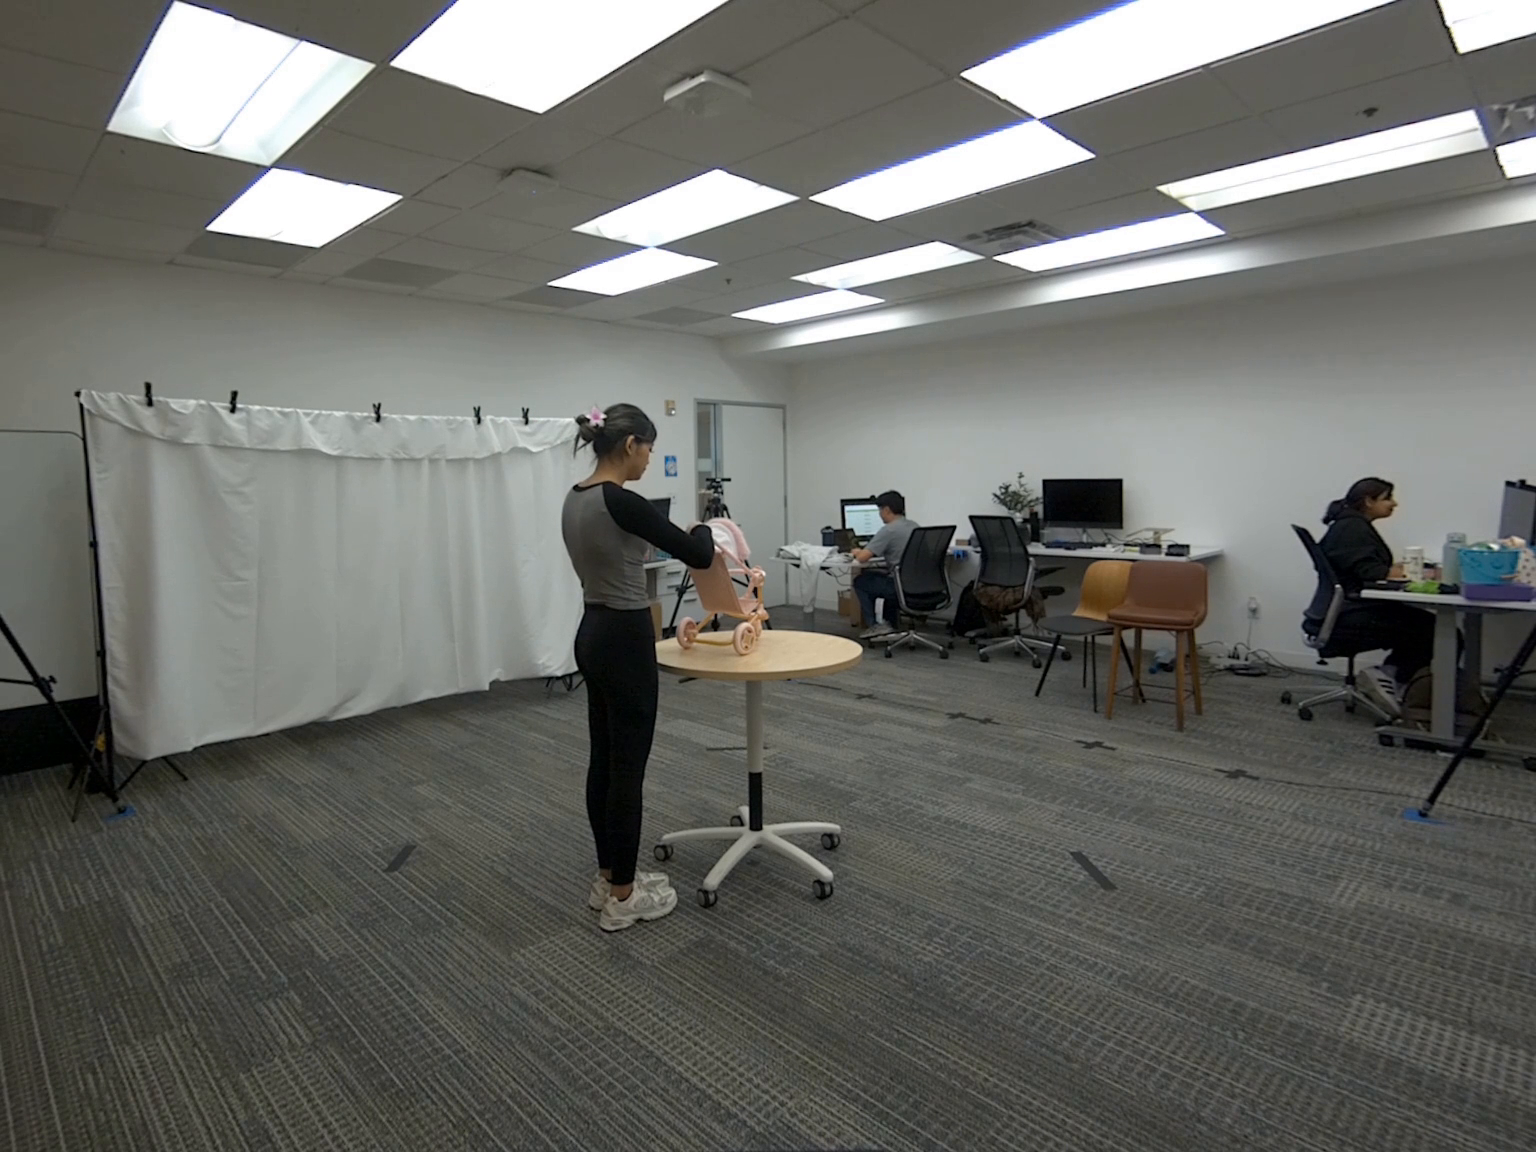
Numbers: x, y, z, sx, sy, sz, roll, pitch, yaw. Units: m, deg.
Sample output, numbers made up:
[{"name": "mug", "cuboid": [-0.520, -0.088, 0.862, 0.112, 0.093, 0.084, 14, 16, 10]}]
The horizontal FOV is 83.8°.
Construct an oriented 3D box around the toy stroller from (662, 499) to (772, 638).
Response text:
[{"name": "toy stroller", "cuboid": [-0.152, 0.034, 3.028, 0.290, 0.526, 0.336, 3, 20, 39]}]
